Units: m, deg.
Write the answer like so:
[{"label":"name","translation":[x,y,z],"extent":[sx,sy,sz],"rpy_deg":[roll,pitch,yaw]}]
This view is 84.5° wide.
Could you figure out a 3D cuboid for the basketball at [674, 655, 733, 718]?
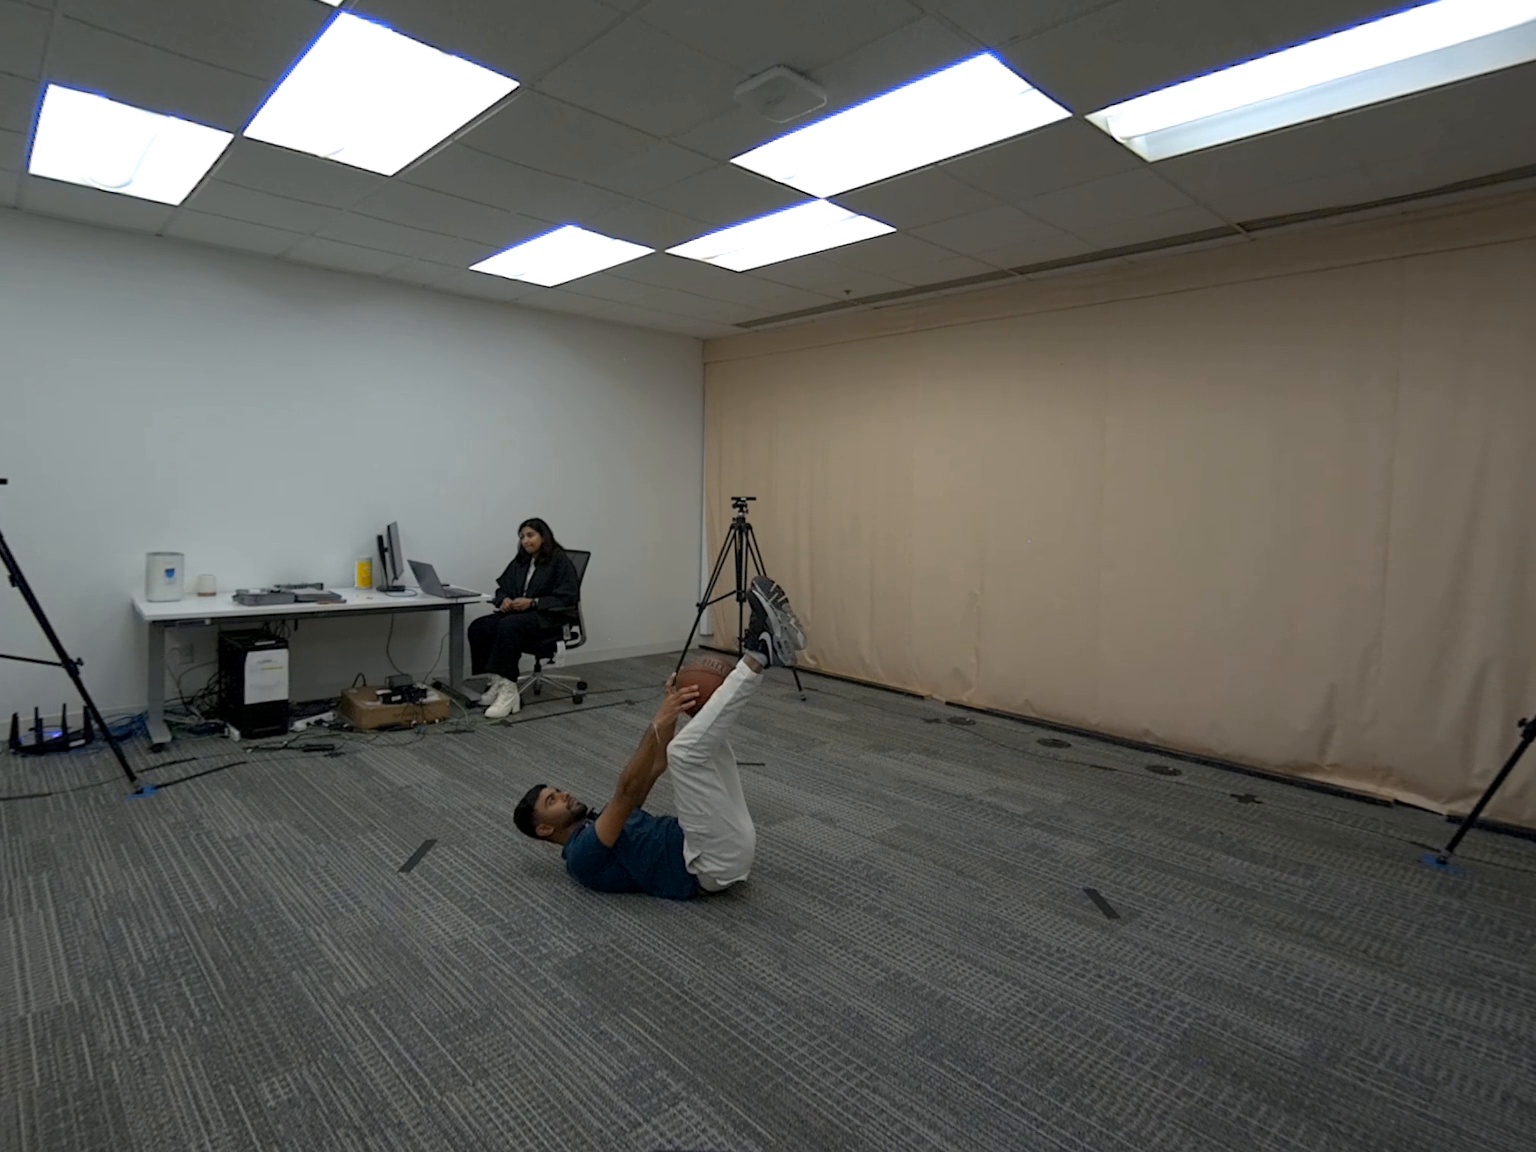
[{"label":"basketball","translation":[-0.240,0.389,2.975],"extent":[0.236,0.235,0.237],"rpy_deg":[1,4,-1]}]
